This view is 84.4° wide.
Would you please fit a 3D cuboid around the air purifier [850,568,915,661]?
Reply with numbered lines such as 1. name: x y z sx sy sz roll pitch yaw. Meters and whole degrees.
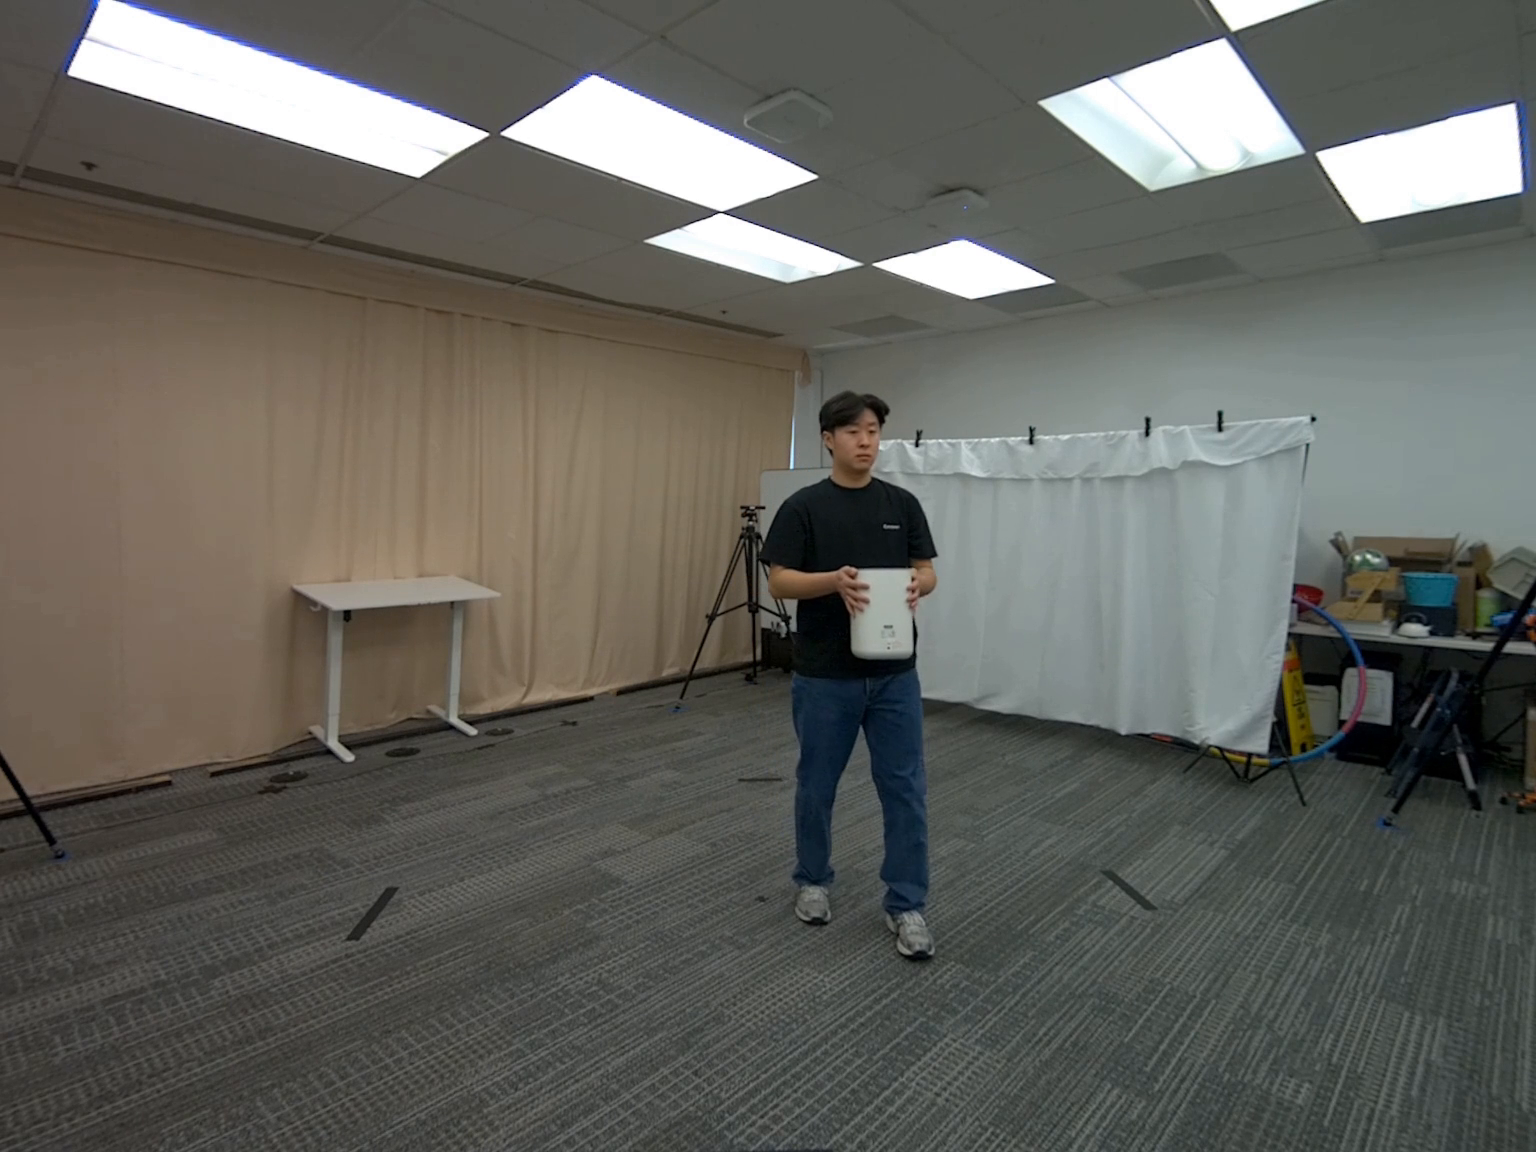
1. air purifier: 0.346 0.114 2.529 0.171 0.266 0.172 1 -3 -3
